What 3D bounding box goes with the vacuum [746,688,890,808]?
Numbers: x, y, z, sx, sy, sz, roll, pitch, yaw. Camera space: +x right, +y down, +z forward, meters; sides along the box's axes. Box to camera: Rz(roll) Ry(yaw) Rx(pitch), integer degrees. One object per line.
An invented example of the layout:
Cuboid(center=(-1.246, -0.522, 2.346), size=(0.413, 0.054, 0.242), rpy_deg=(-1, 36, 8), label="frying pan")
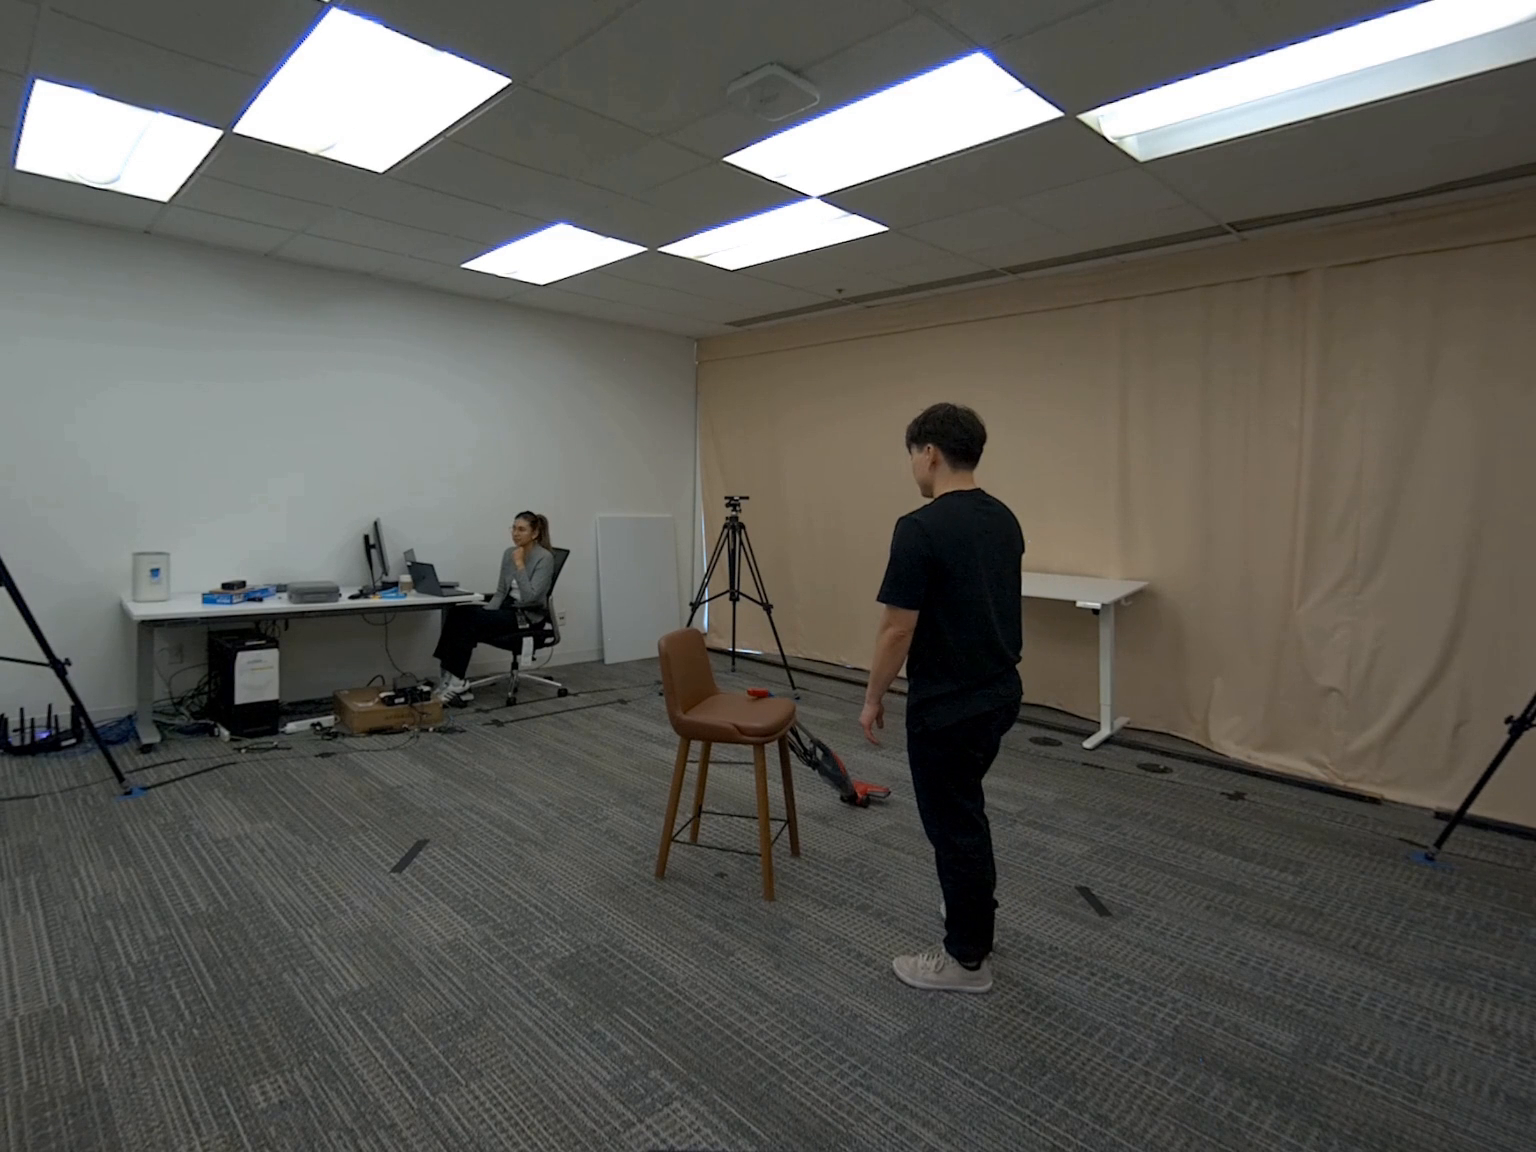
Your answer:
Cuboid(center=(0.175, 0.741, 3.599), size=(0.259, 0.145, 1.016), rpy_deg=(3, -32, 39), label="vacuum")
